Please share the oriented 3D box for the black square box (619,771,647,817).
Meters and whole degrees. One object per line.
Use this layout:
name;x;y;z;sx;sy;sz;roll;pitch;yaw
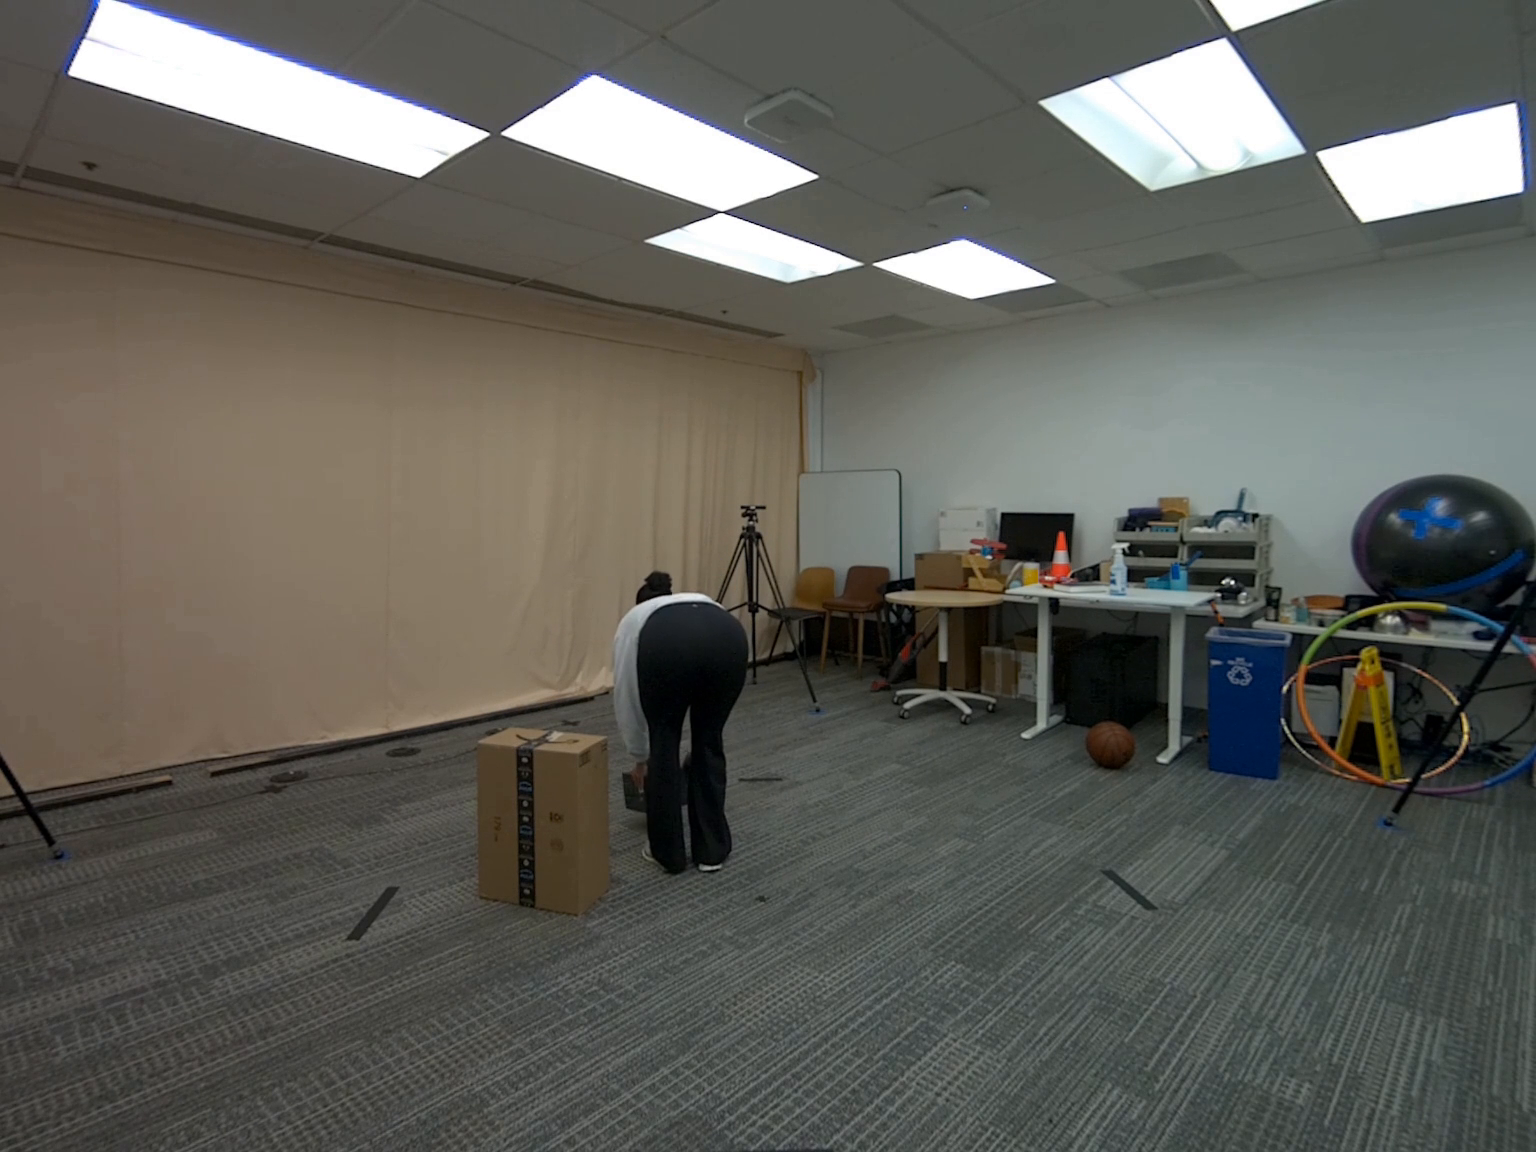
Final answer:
black square box;-0.481;0.914;3.642;0.221;0.156;0.222;-5;-5;-35
